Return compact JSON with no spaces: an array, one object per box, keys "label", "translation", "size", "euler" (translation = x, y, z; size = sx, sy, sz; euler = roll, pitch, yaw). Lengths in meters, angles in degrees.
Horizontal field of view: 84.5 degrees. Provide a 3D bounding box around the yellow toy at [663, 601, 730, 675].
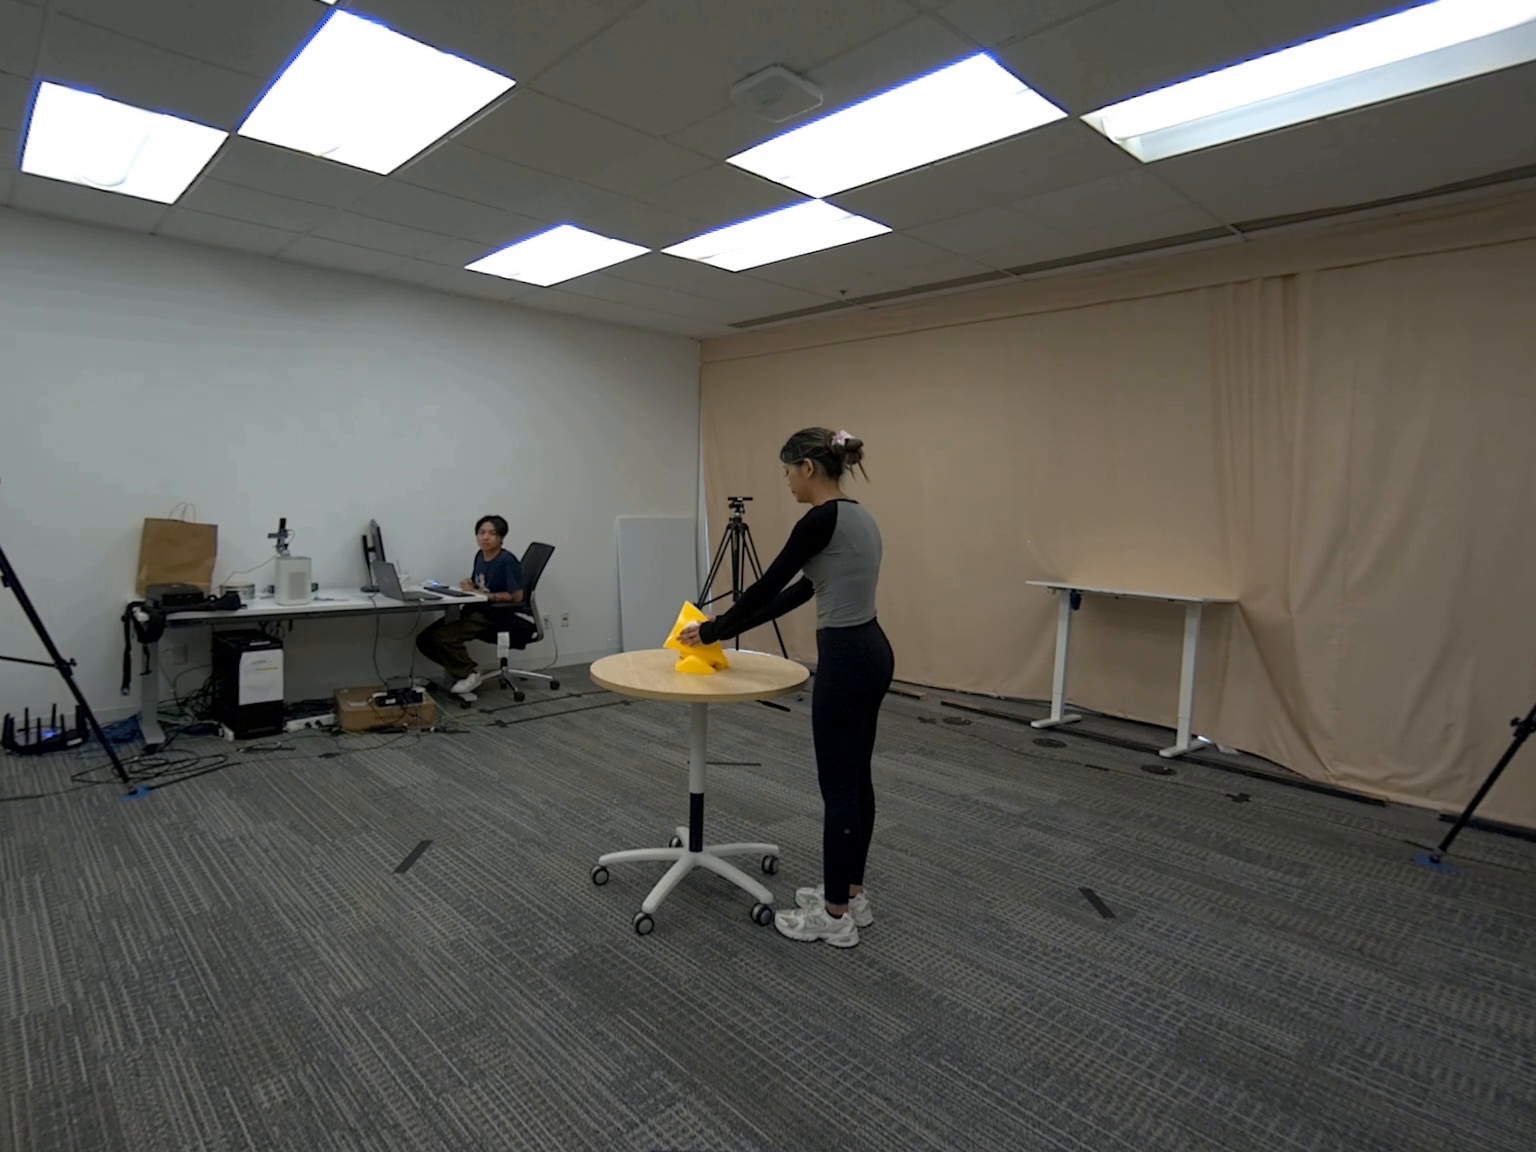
[{"label":"yellow toy","translation":[-0.243,0.206,2.962],"size":[0.197,0.230,0.201],"euler":[4,6,24]}]
